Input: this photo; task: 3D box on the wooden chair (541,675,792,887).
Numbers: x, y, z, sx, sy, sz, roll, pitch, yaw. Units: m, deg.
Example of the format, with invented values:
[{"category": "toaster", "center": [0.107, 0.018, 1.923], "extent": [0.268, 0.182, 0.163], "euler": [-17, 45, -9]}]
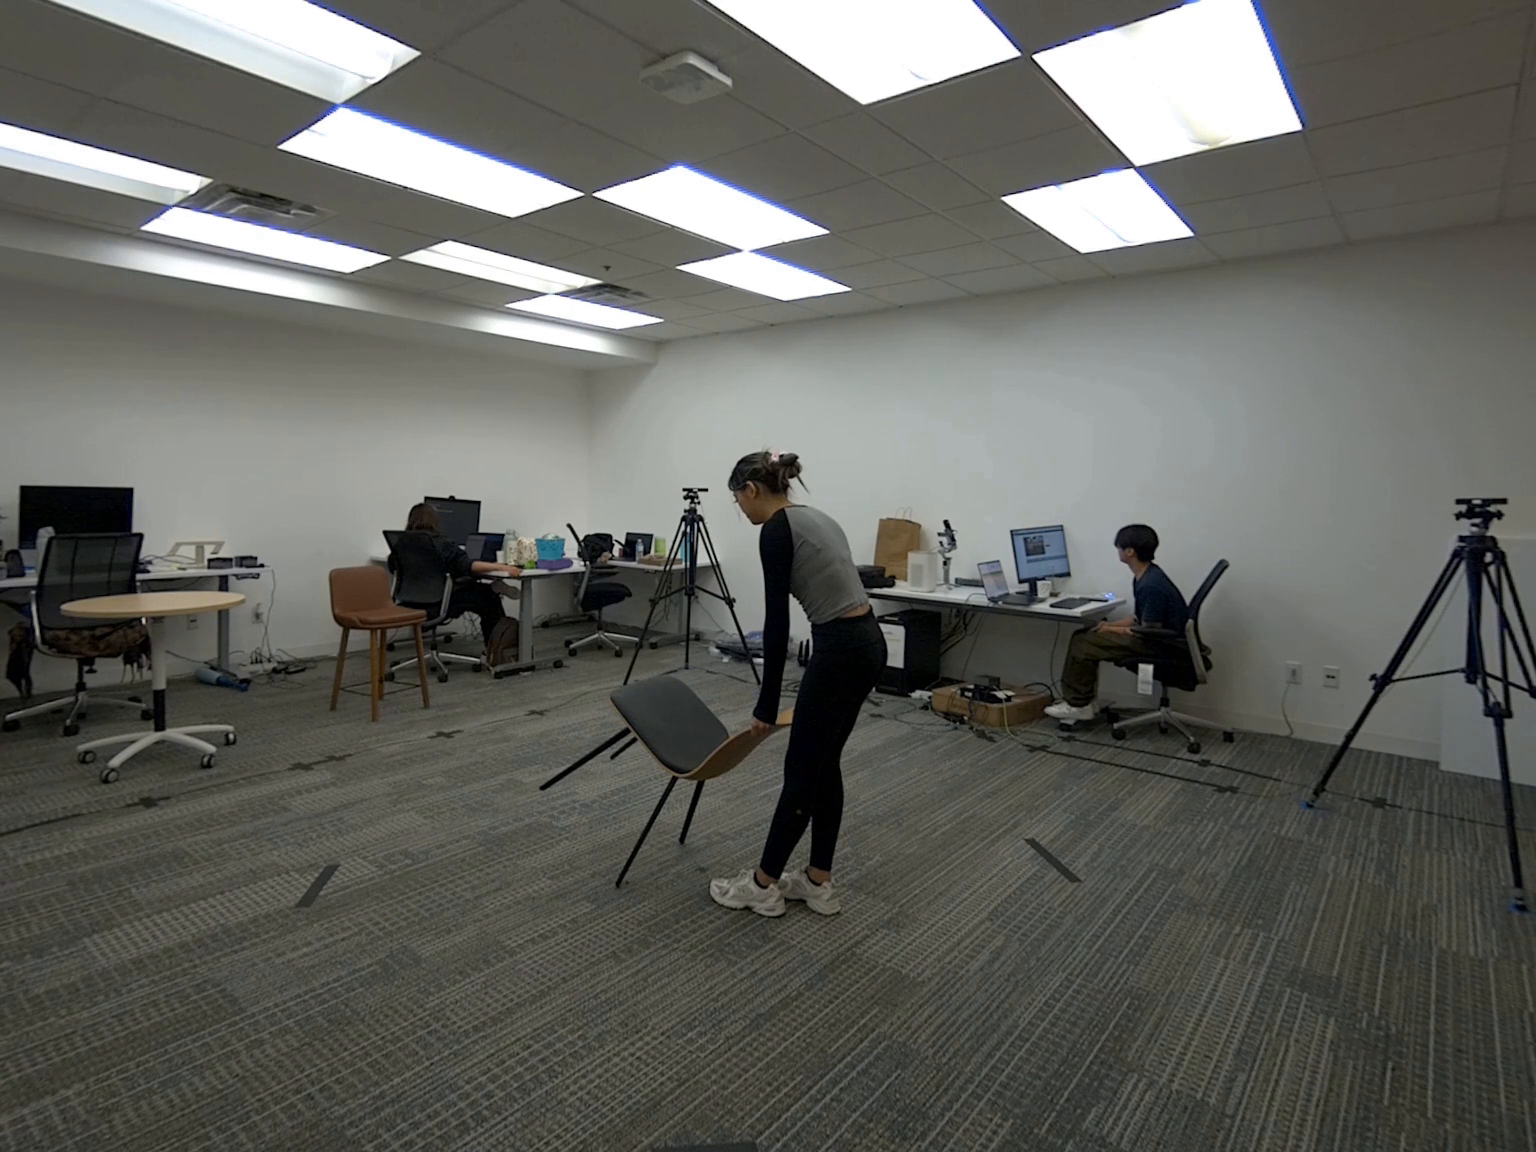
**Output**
[{"category": "wooden chair", "center": [-0.344, 0.592, 3.077], "extent": [0.537, 0.877, 0.466], "euler": [49, 22, 17]}]
